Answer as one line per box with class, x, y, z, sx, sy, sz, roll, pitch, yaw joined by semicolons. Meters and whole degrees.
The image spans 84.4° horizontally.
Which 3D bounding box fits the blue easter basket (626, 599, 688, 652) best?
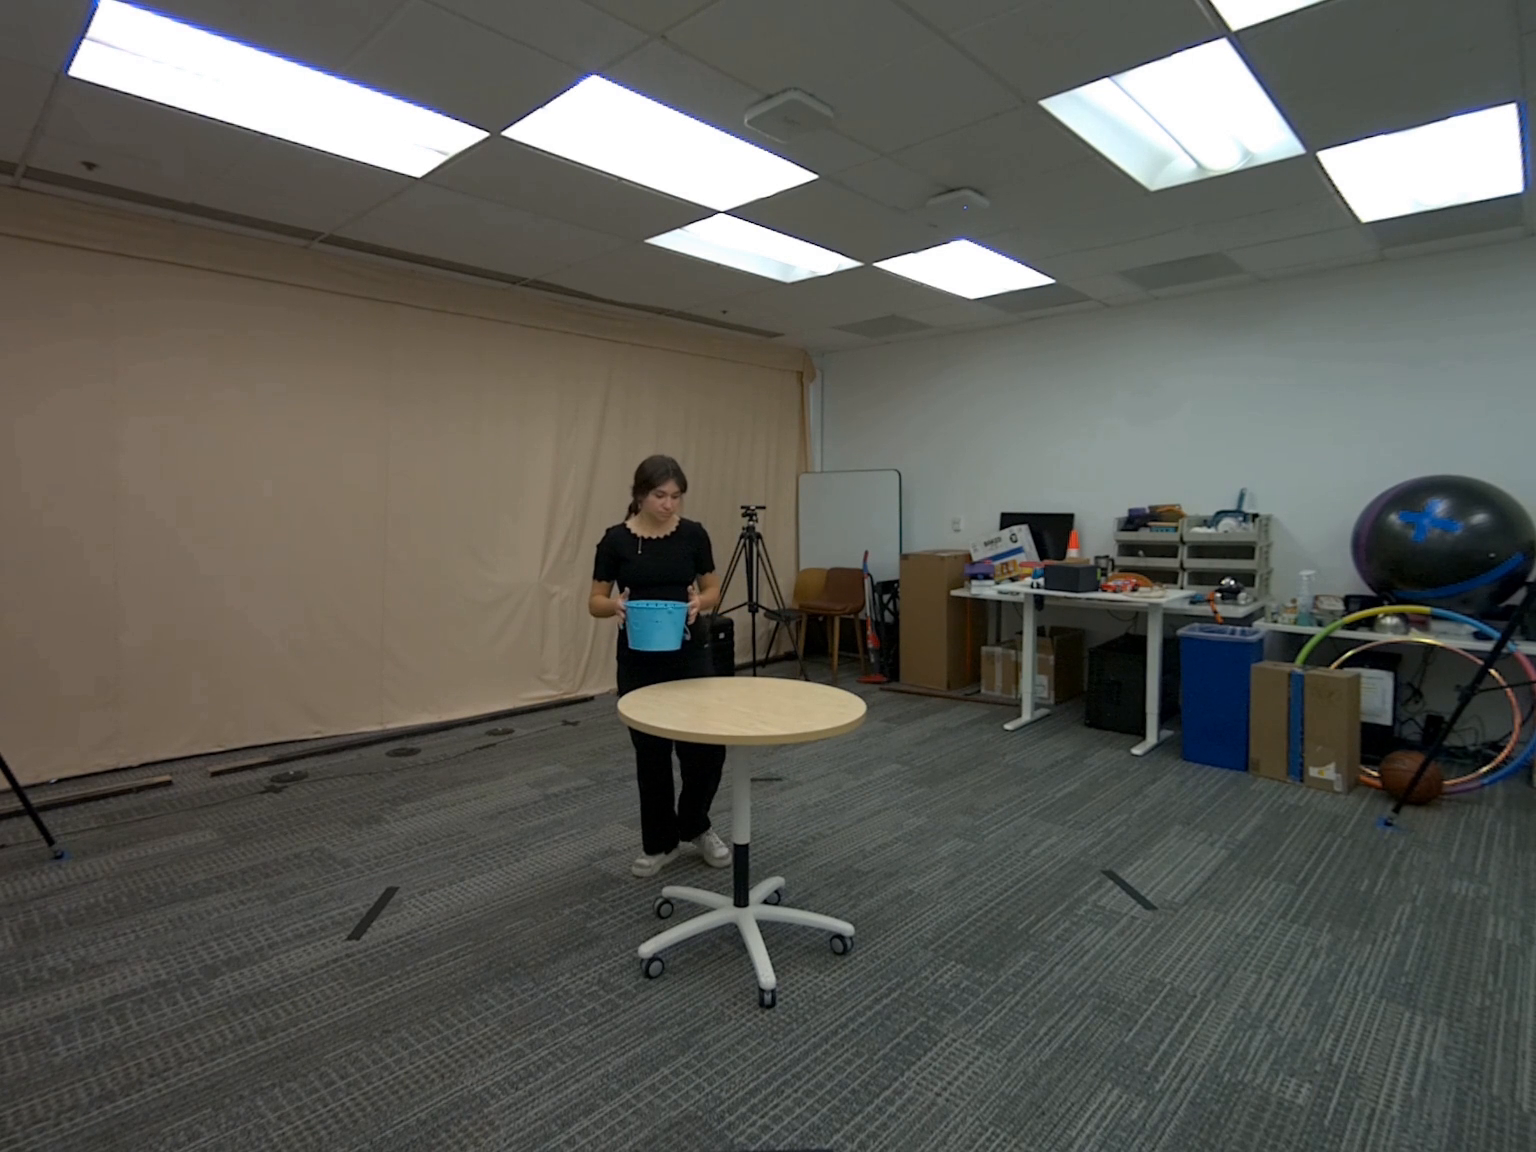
blue easter basket;-0.358;0.176;2.942;0.243;0.155;0.244;3;4;-2
